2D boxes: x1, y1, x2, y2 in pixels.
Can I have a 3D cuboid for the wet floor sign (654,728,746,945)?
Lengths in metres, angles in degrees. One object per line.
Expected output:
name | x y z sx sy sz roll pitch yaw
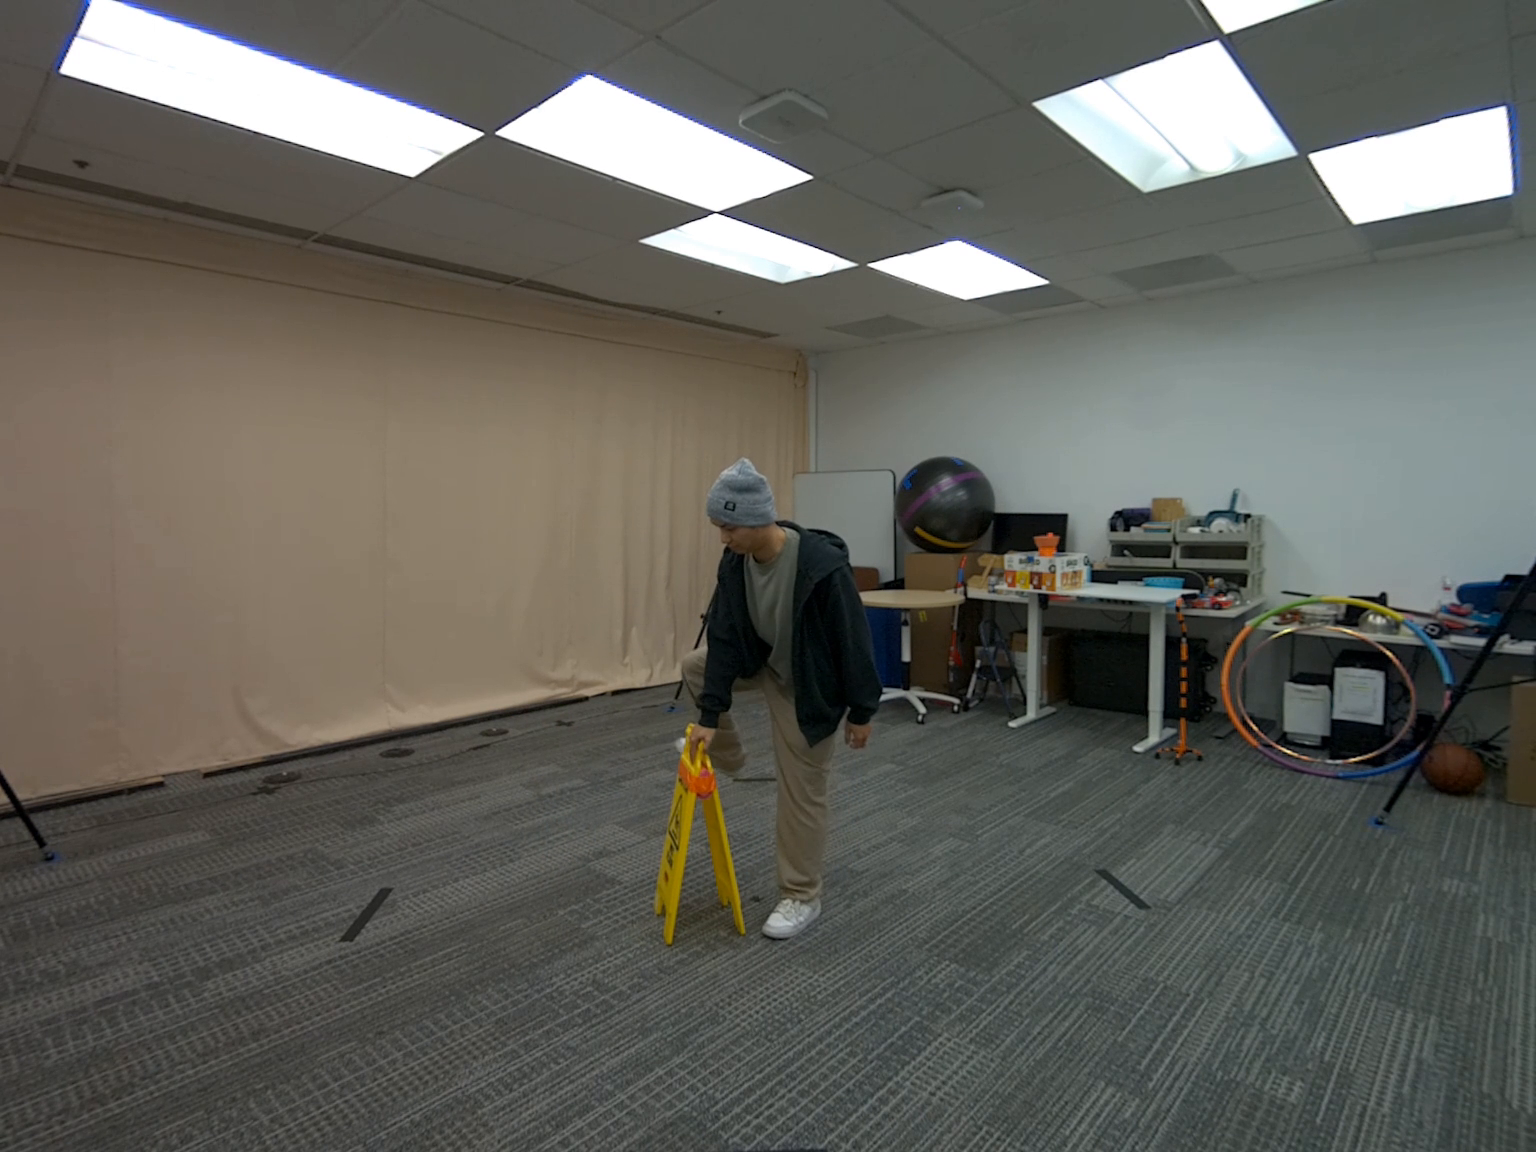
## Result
wet floor sign | -0.239 0.838 2.807 0.285 0.645 0.287 -2 3 -15
